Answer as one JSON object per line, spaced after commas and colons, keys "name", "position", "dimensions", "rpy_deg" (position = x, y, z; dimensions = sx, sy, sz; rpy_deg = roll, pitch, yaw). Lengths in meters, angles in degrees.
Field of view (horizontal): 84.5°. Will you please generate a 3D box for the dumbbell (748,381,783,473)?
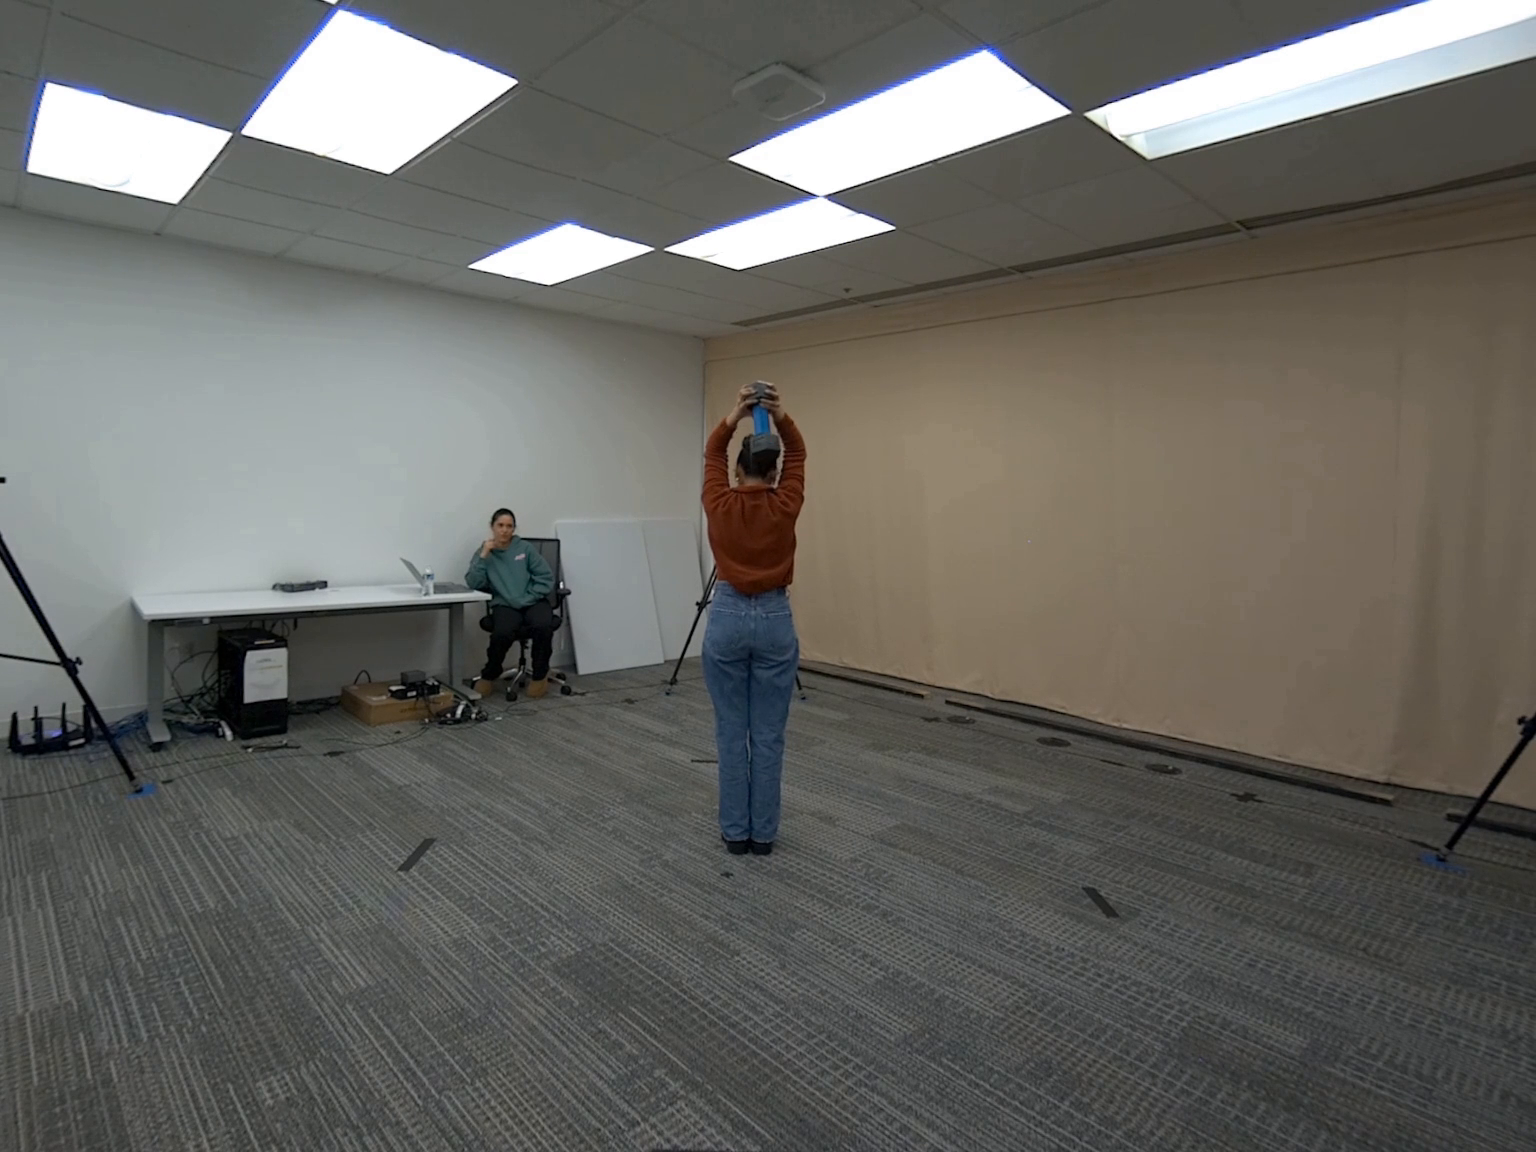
{"name": "dumbbell", "position": [-0.030, -0.581, 3.164], "dimensions": [0.108, 0.297, 0.122], "rpy_deg": [-4, -16, -6]}
